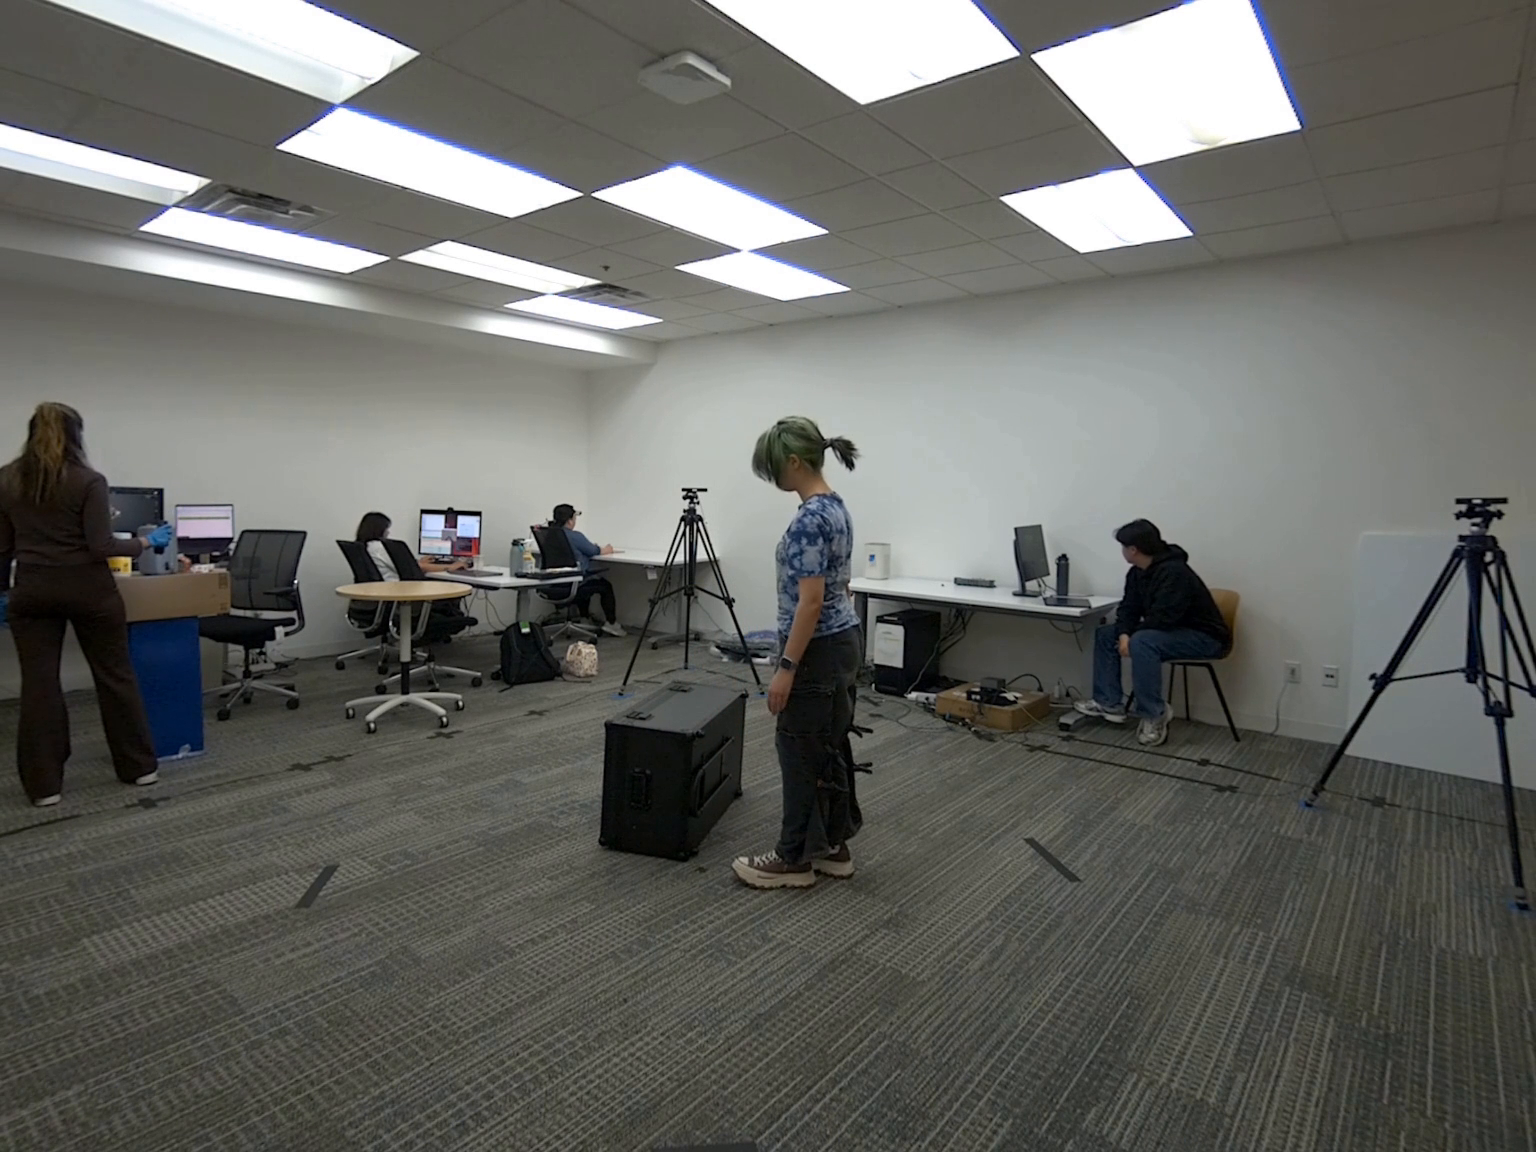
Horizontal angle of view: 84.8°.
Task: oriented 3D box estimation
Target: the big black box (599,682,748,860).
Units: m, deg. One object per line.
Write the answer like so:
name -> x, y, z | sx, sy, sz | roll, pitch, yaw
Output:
big black box -> -0.359, 0.763, 3.594 | 0.403, 0.519, 0.851 | 4, 6, 14
